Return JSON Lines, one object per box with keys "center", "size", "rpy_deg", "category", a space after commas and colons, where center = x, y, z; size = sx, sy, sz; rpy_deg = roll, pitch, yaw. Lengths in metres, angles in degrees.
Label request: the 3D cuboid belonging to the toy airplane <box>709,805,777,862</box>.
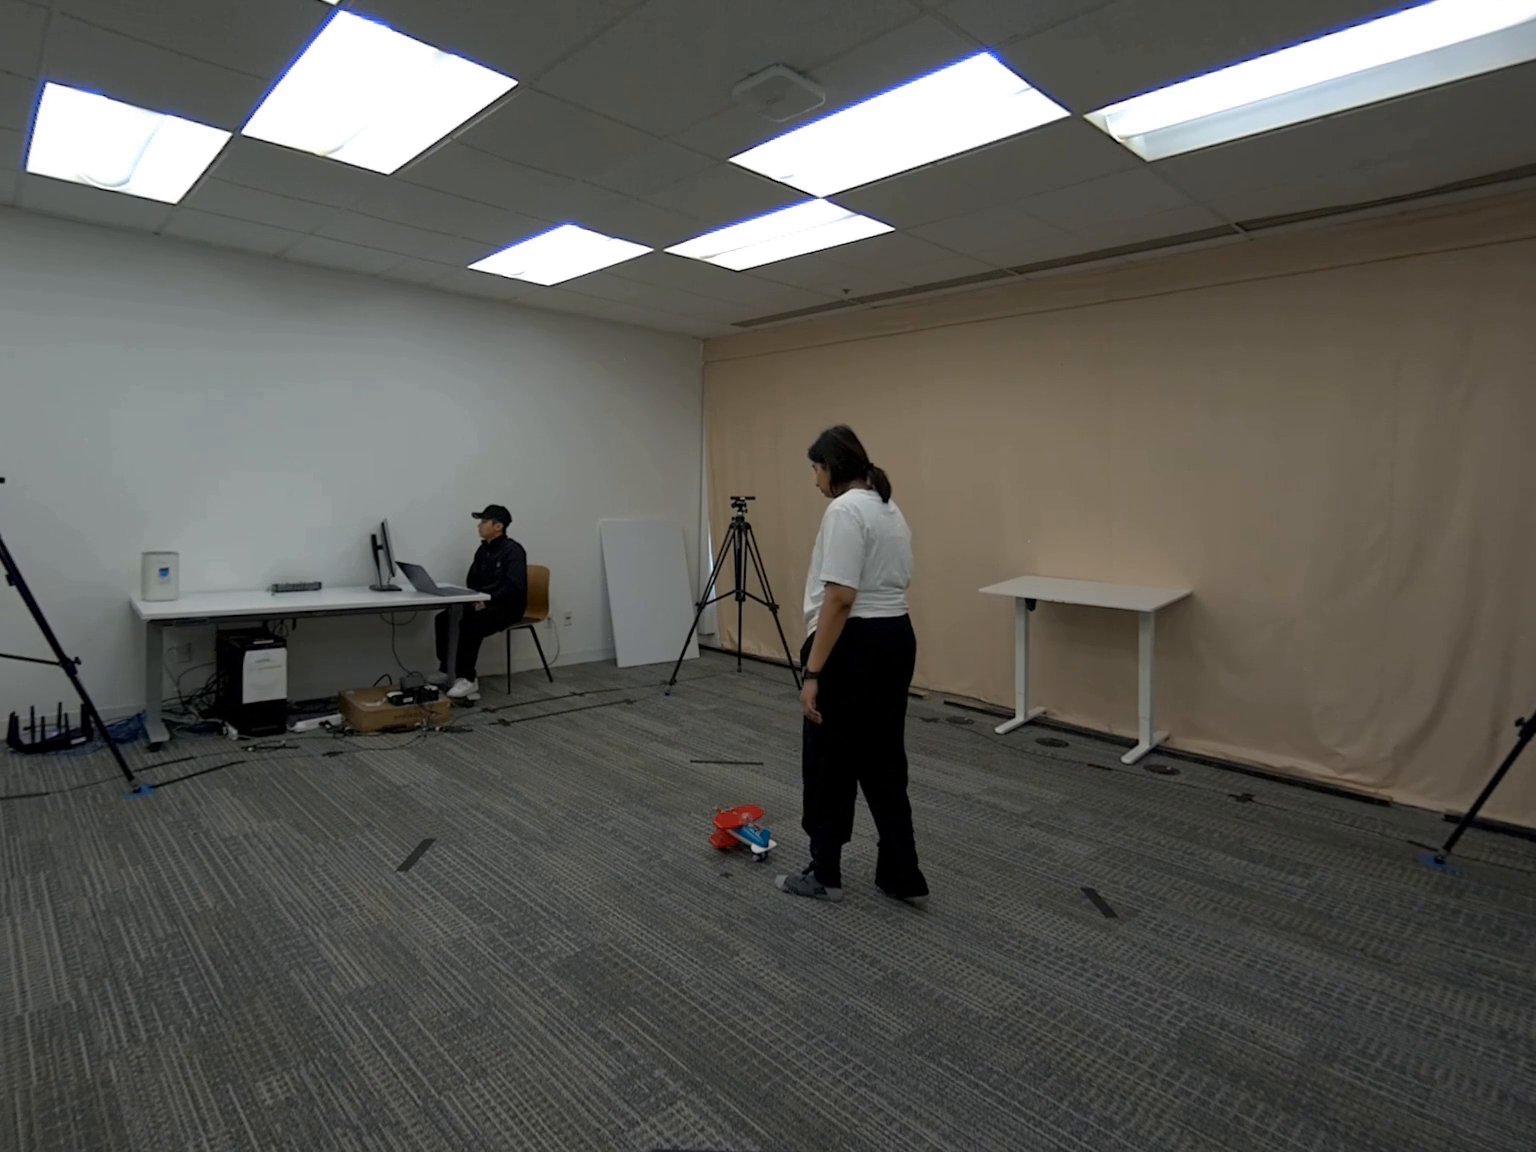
{"center": [-0.095, 1.009, 3.316], "size": [0.262, 0.156, 0.249], "rpy_deg": [2, 4, 14], "category": "toy airplane"}
